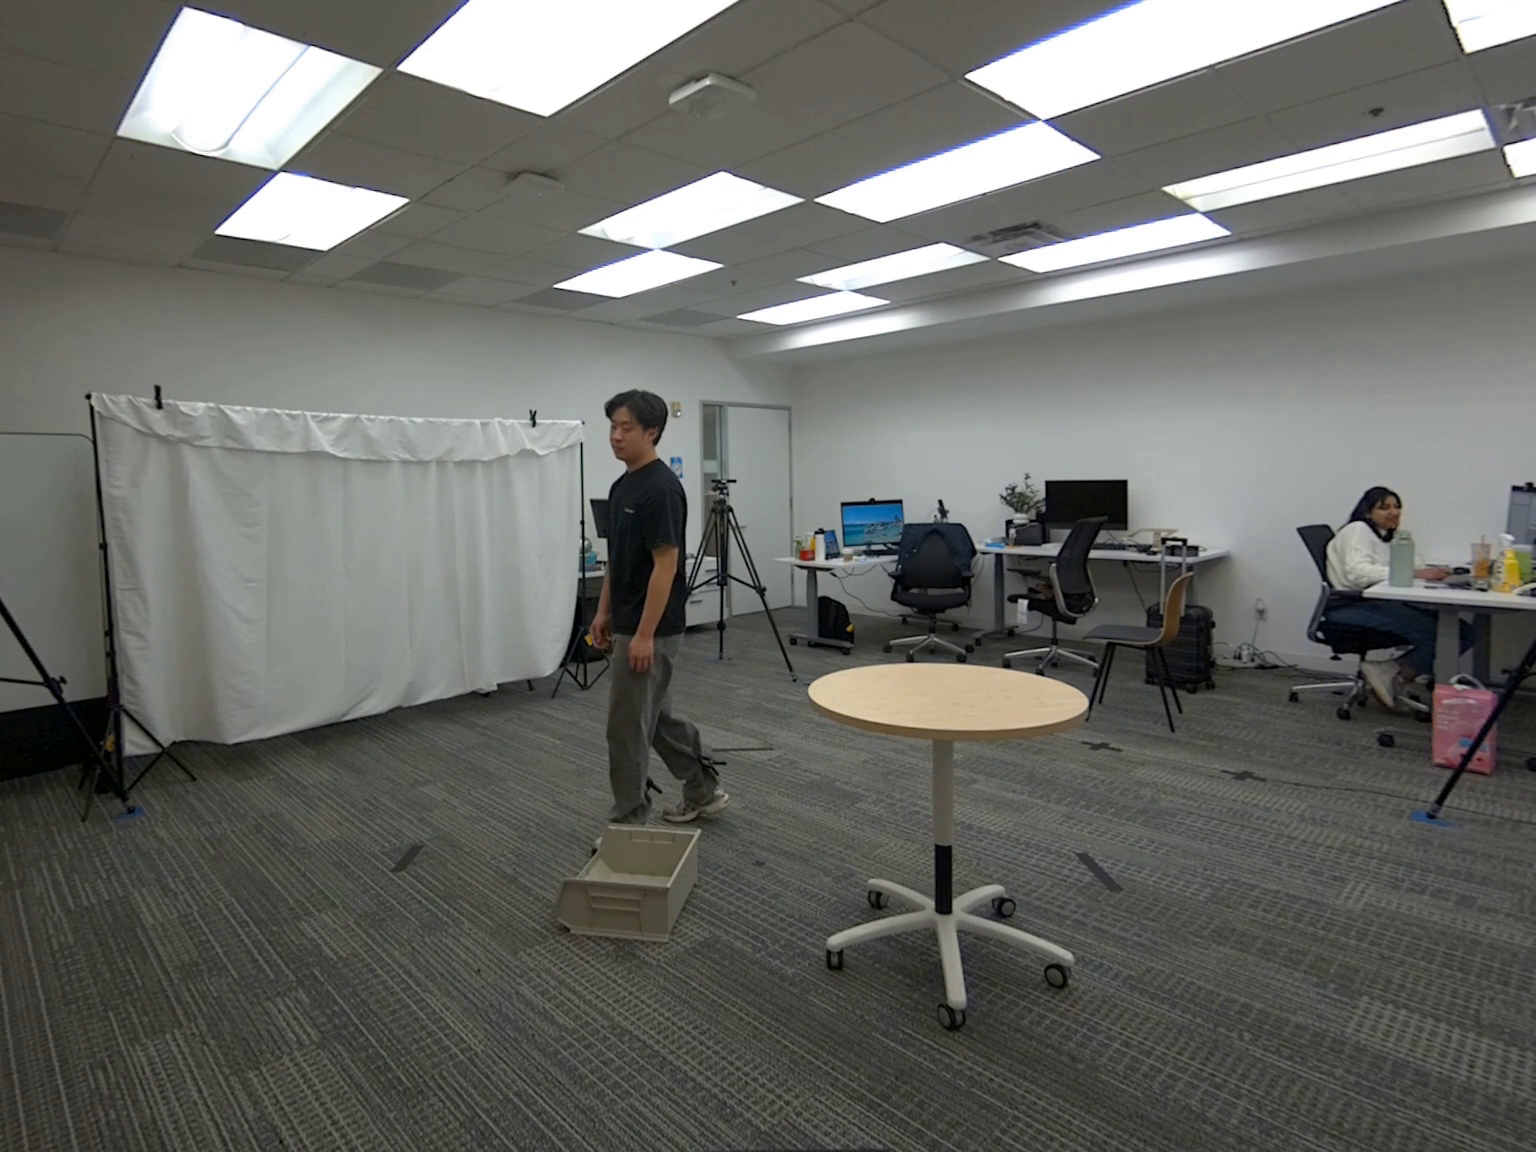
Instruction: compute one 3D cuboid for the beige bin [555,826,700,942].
[{"bbox_3d":[-0.449,1.003,2.819,0.381,0.188,0.419,1,6,10],"label":"beige bin"}]
